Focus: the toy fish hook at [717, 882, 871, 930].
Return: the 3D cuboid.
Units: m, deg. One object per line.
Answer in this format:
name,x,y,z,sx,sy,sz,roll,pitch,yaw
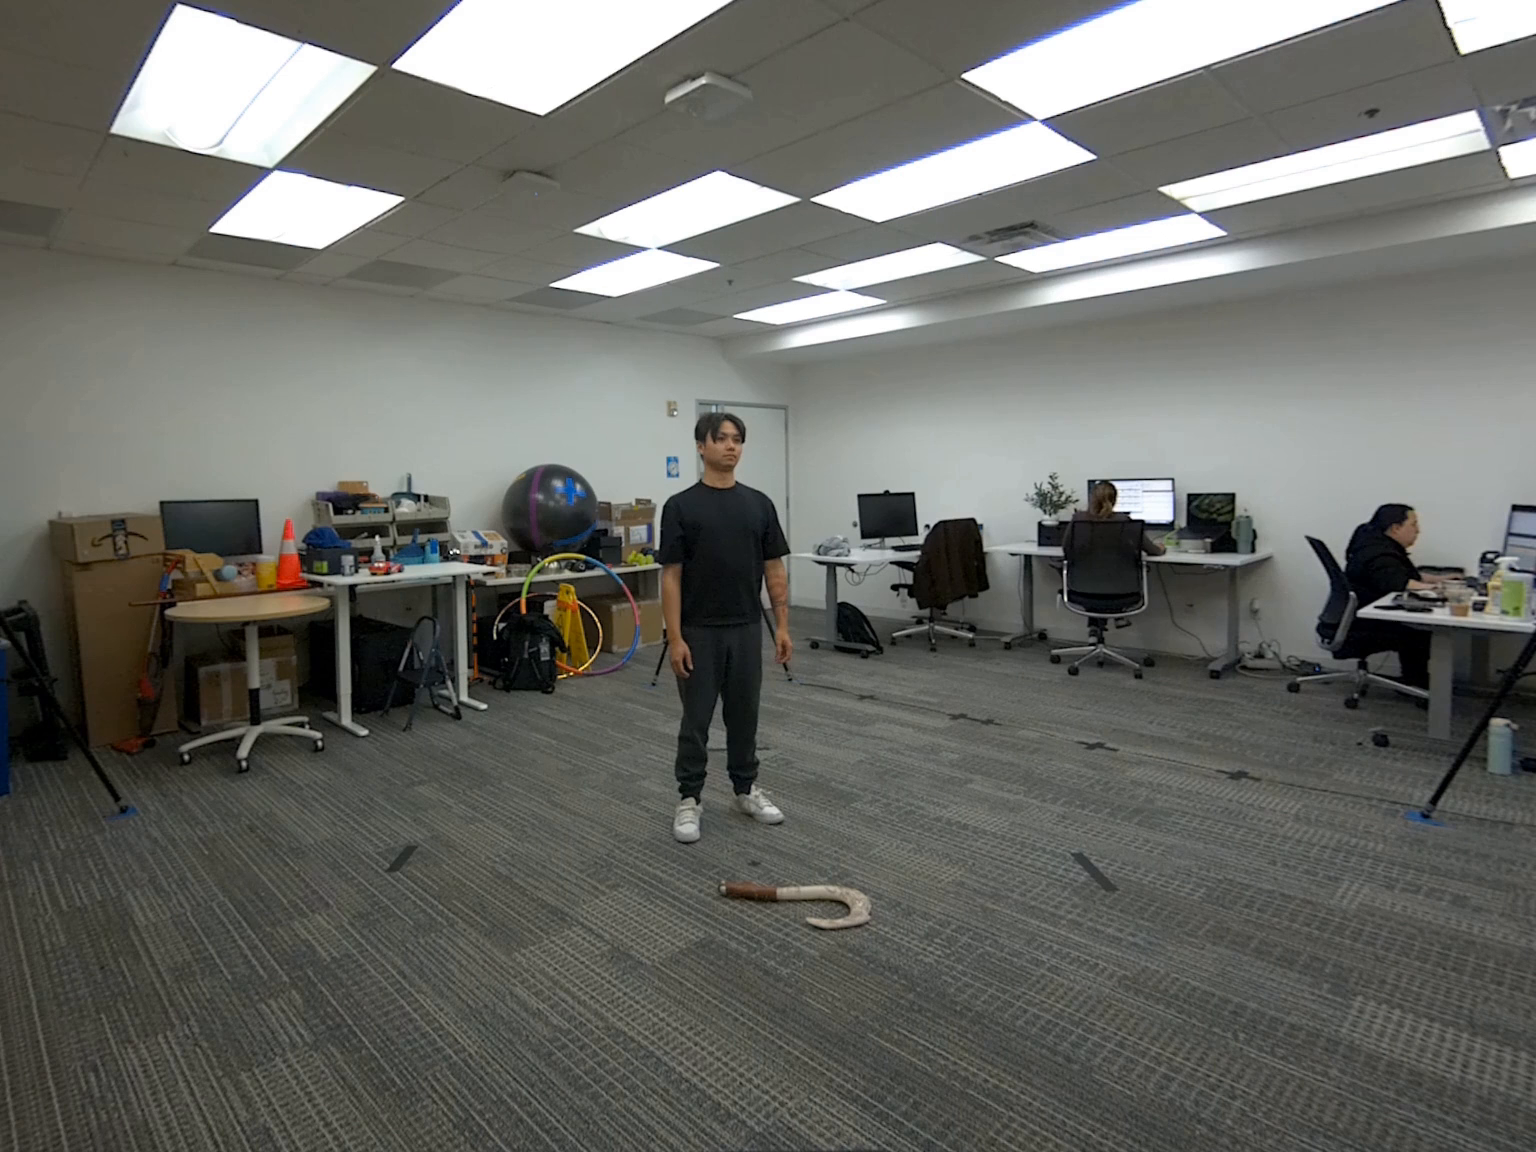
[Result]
toy fish hook,0.079,1.058,2.769,0.513,0.048,0.223,0,5,12
